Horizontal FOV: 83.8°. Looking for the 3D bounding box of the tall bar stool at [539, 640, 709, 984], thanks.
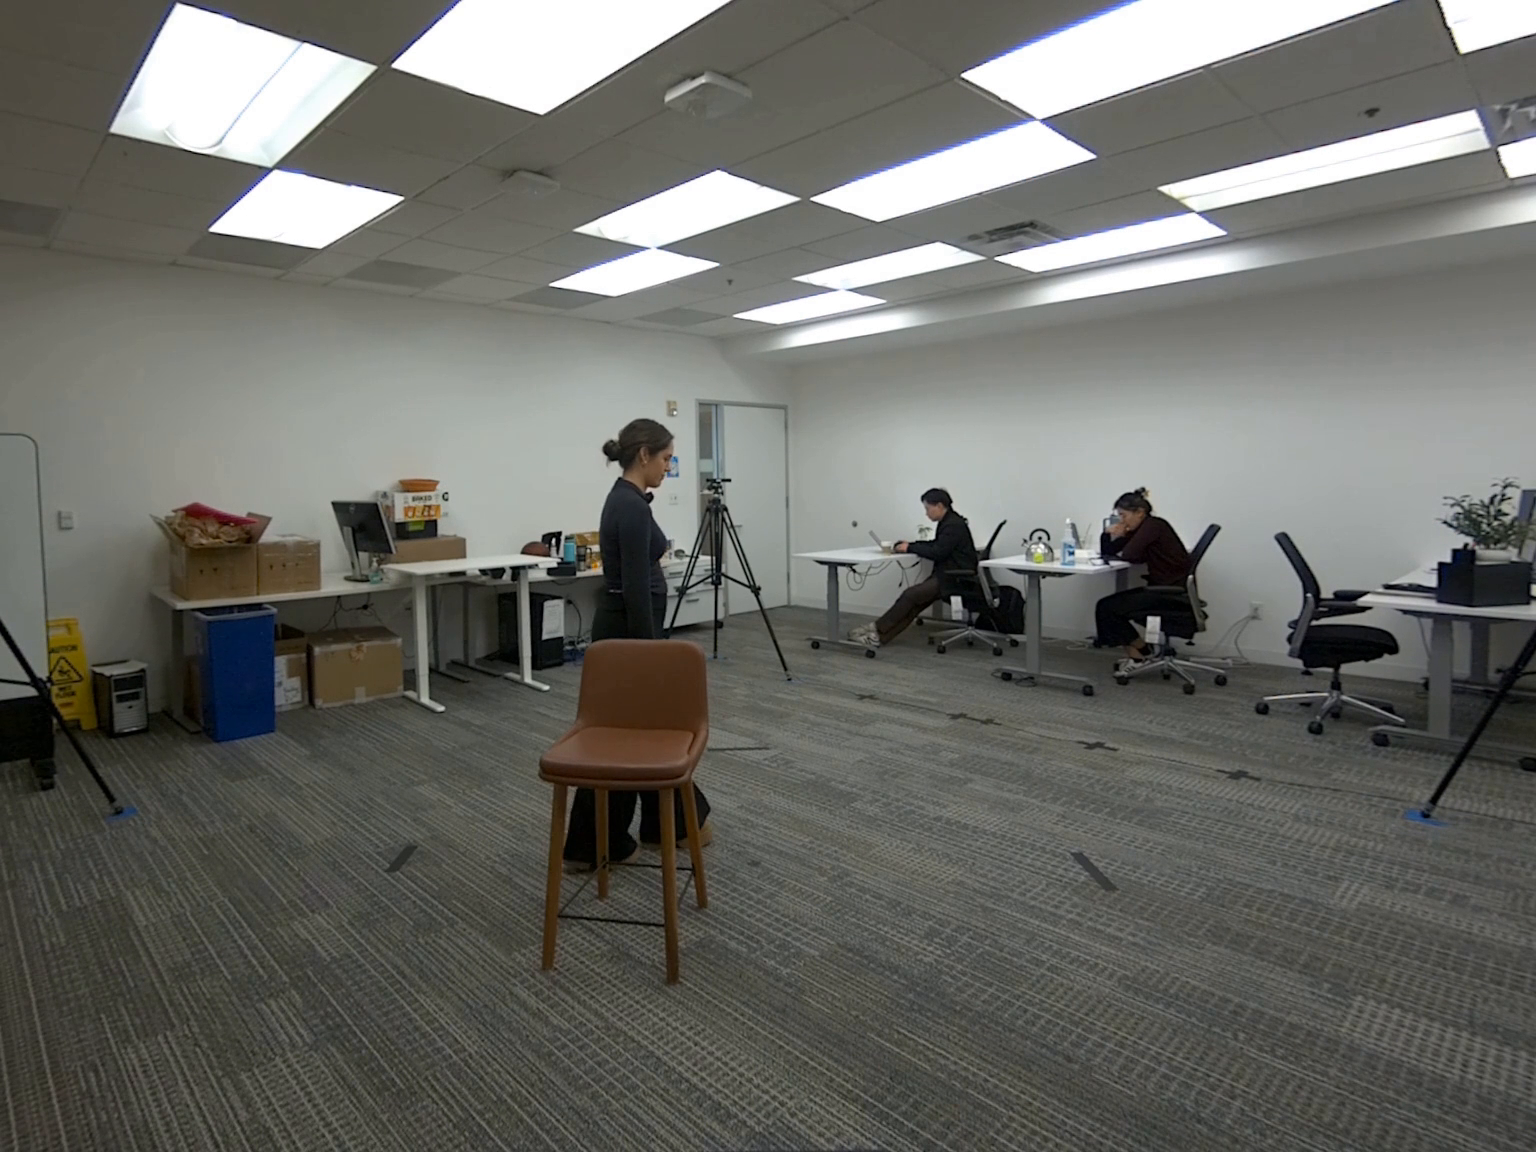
[{"bbox_3d":[-0.423,0.675,2.613,0.462,0.888,0.463,0,3,12],"label":"tall bar stool"}]
